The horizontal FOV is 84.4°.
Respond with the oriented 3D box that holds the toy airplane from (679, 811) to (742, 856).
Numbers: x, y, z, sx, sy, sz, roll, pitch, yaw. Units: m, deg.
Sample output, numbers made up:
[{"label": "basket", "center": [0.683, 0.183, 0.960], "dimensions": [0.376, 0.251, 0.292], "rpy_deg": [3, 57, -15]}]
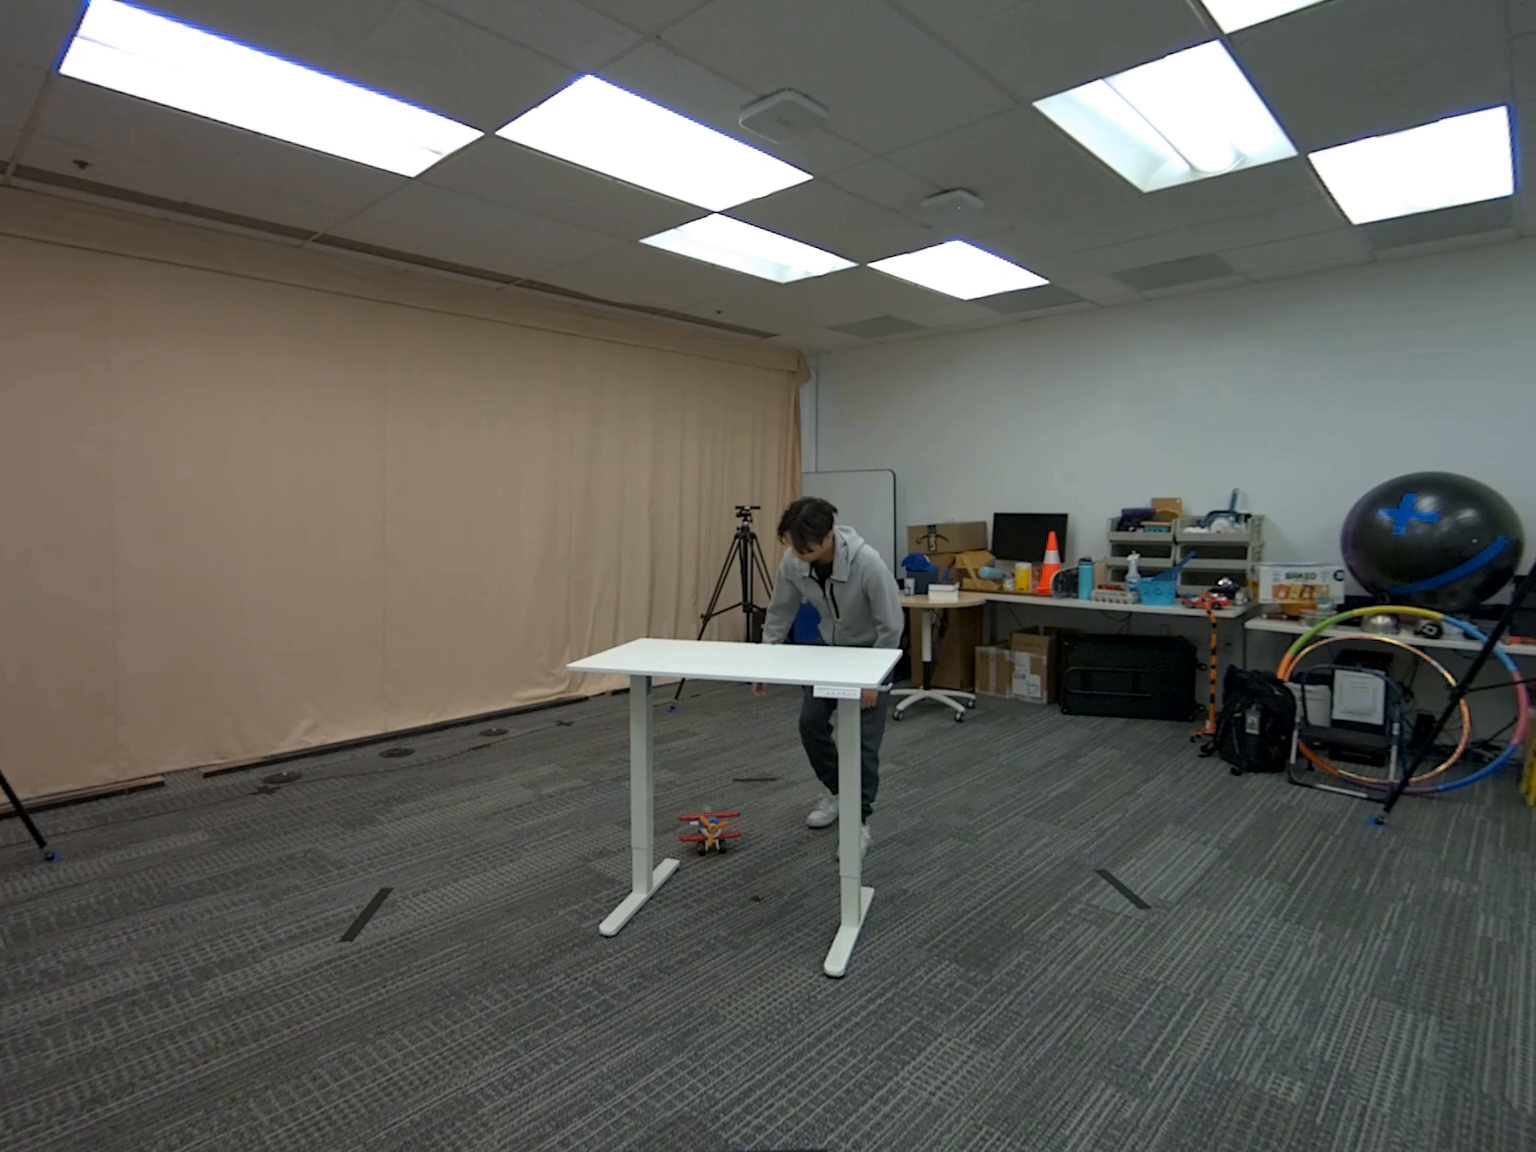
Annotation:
[{"label": "toy airplane", "center": [-0.259, 1.030, 3.443], "dimensions": [0.243, 0.156, 0.268], "rpy_deg": [-4, 5, -40]}]
